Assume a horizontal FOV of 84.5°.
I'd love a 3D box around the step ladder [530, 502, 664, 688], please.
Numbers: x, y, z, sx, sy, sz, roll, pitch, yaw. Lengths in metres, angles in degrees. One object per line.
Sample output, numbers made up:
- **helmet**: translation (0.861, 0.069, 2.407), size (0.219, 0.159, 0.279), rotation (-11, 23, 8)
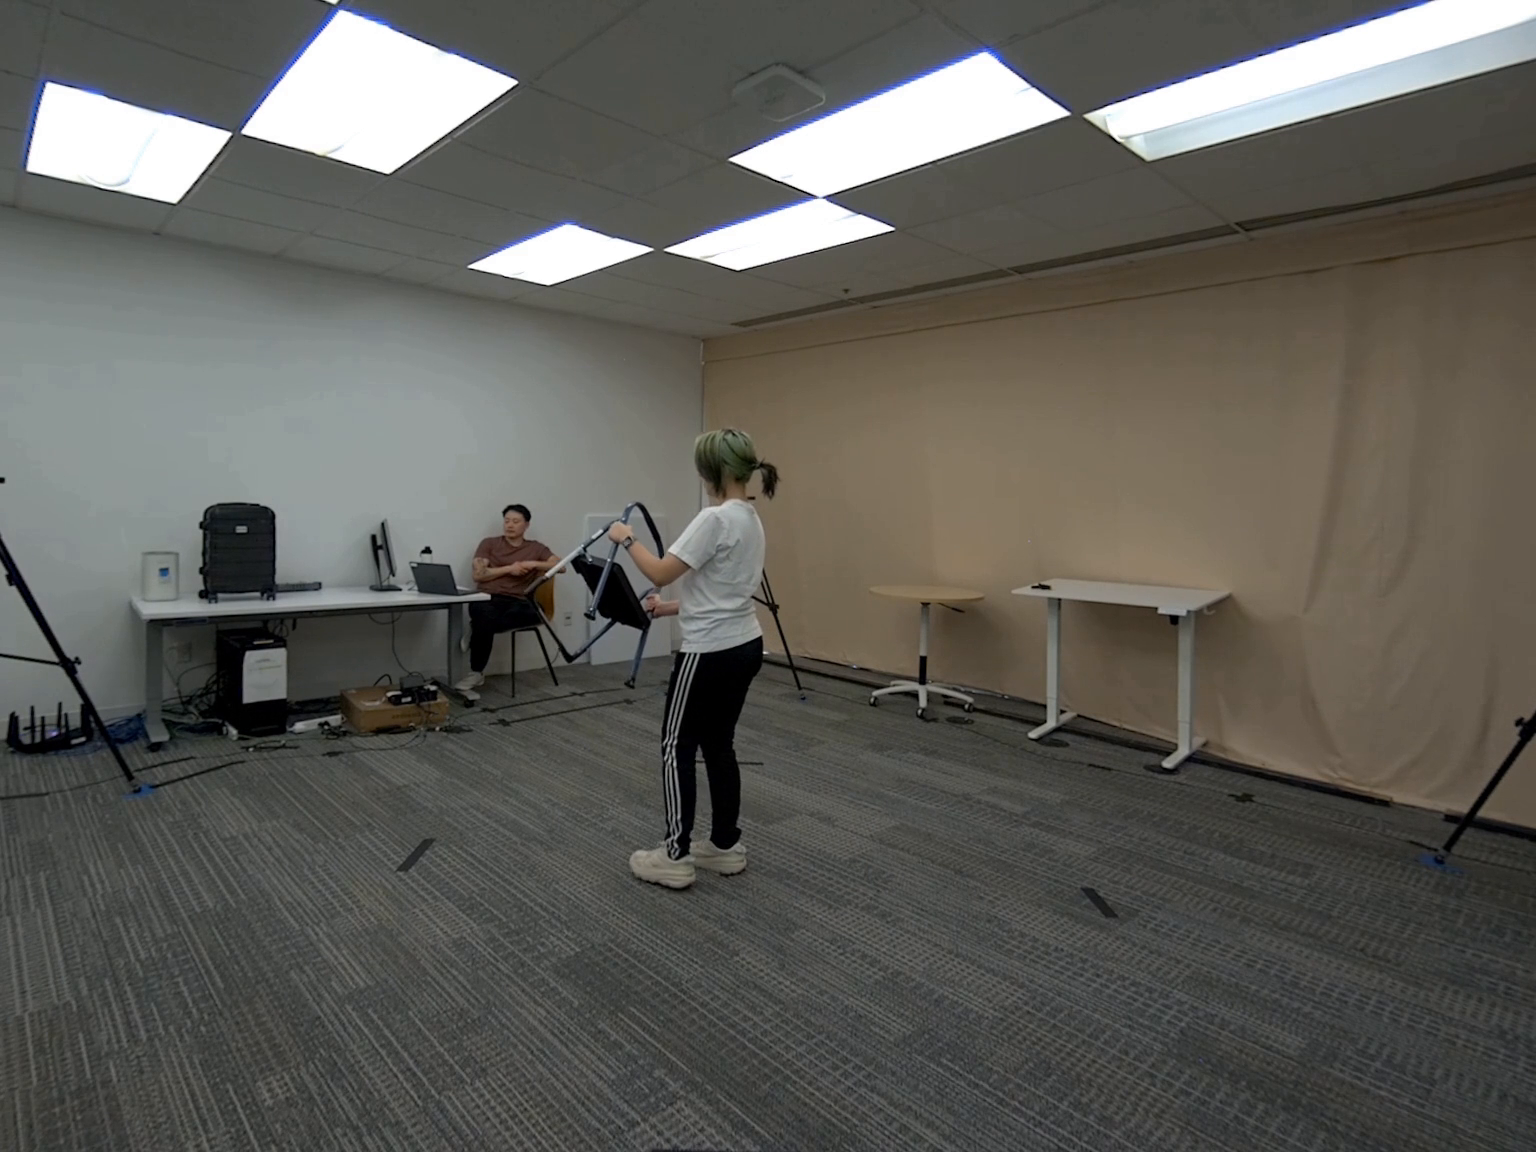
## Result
- **step ladder**: translation (-0.552, 0.025, 3.196), size (0.358, 0.418, 0.608), rotation (13, 52, 29)
